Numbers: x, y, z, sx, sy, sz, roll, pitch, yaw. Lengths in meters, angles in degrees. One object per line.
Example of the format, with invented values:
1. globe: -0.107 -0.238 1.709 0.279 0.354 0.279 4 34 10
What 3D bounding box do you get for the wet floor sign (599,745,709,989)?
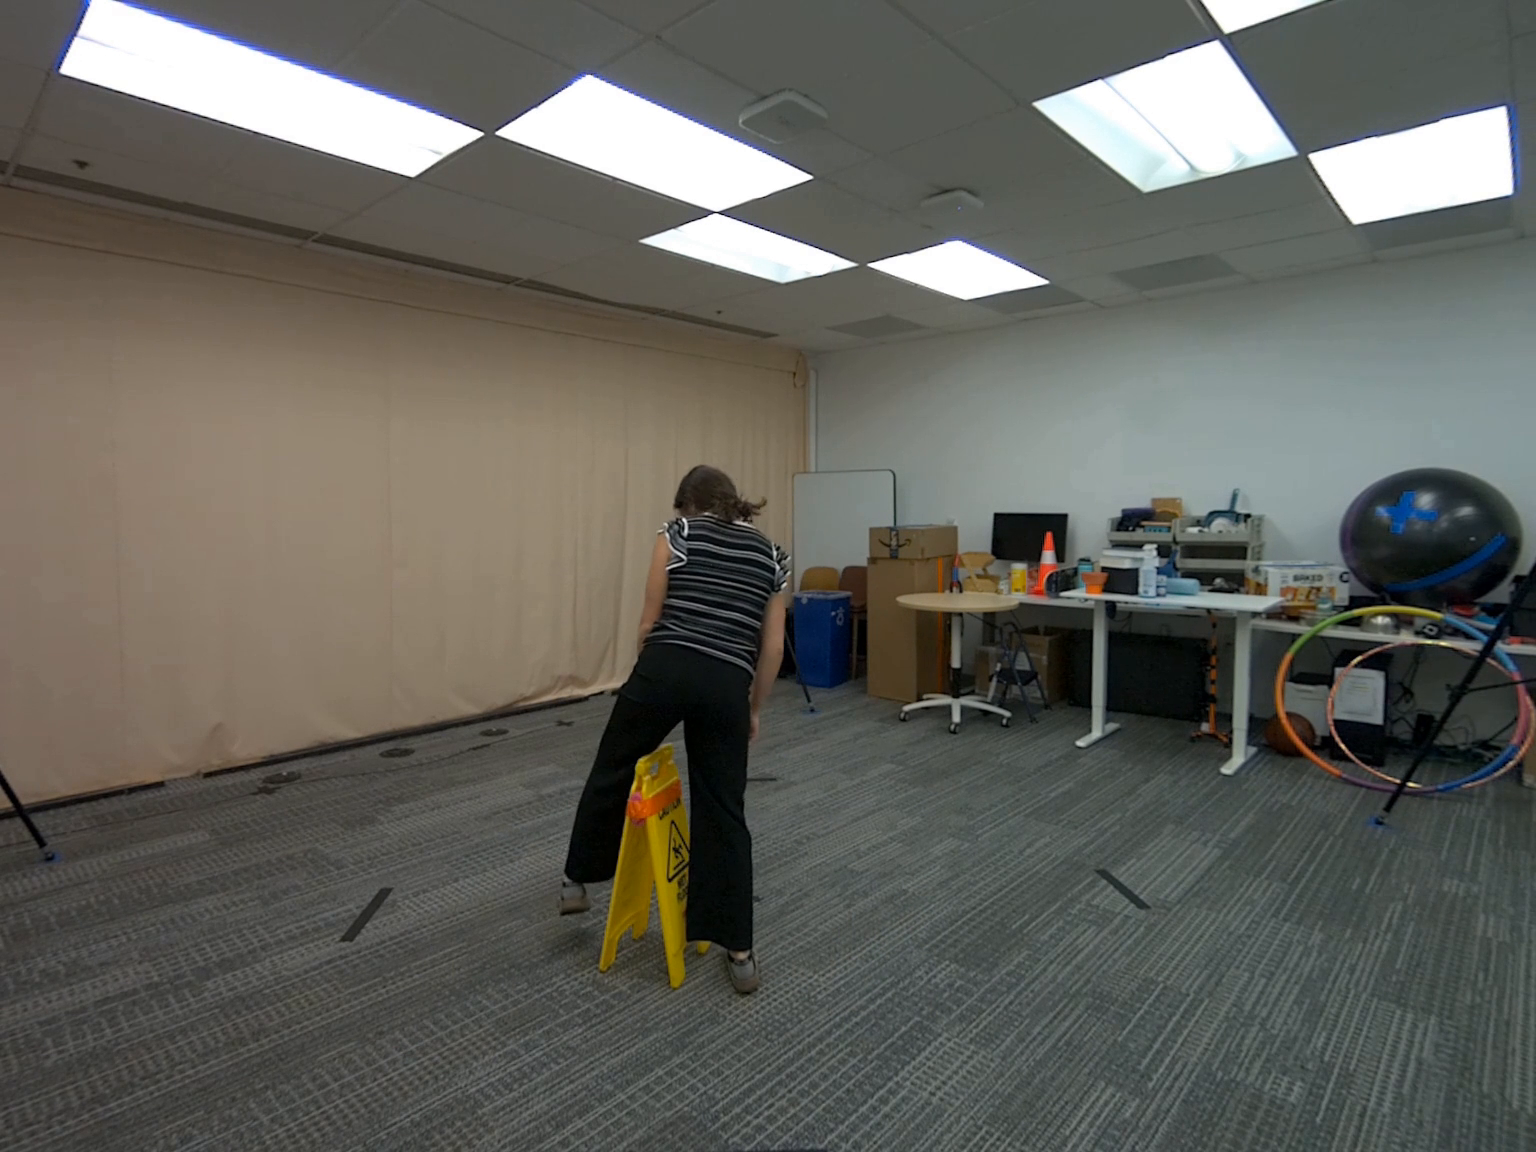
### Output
1. wet floor sign: -0.340 0.855 2.584 0.296 0.645 0.276 0 2 20
